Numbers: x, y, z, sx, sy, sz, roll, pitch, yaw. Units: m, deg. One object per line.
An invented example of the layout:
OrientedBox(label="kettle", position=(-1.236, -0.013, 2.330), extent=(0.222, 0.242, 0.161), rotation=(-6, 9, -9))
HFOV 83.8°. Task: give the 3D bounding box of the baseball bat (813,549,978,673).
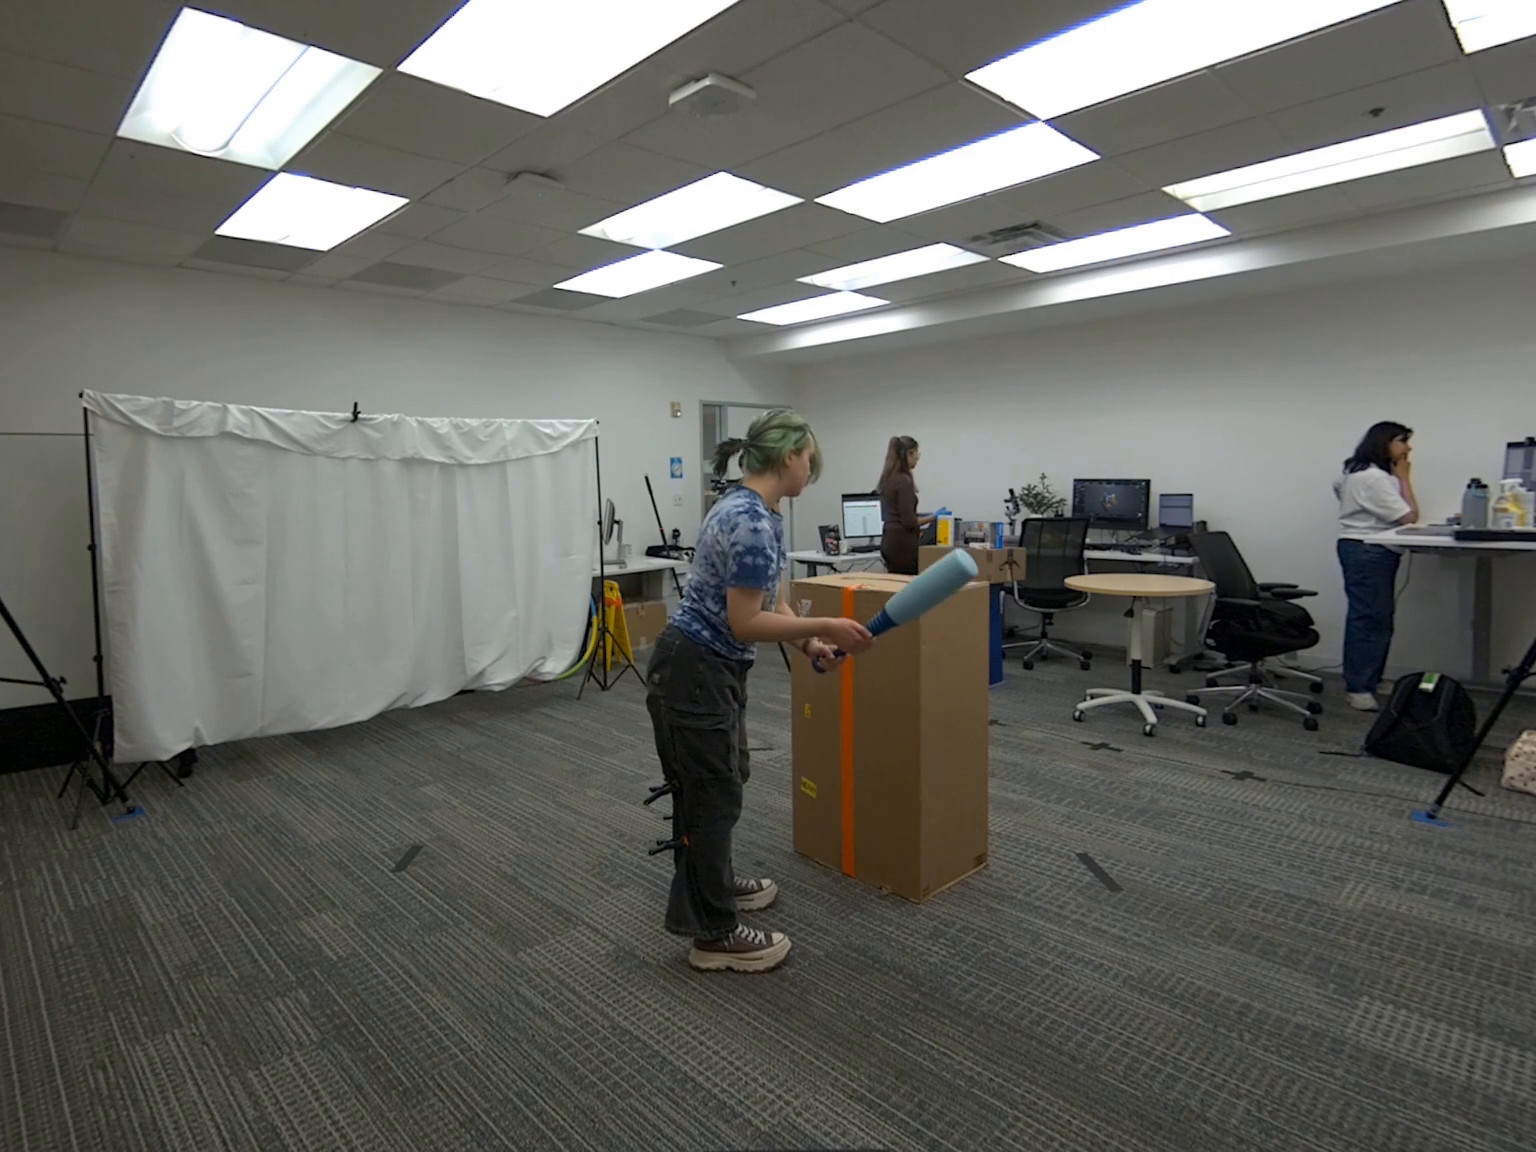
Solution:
OrientedBox(label="baseball bat", position=(0.315, 0.118, 2.231), extent=(0.545, 0.091, 0.087), rotation=(-40, -20, 32))
